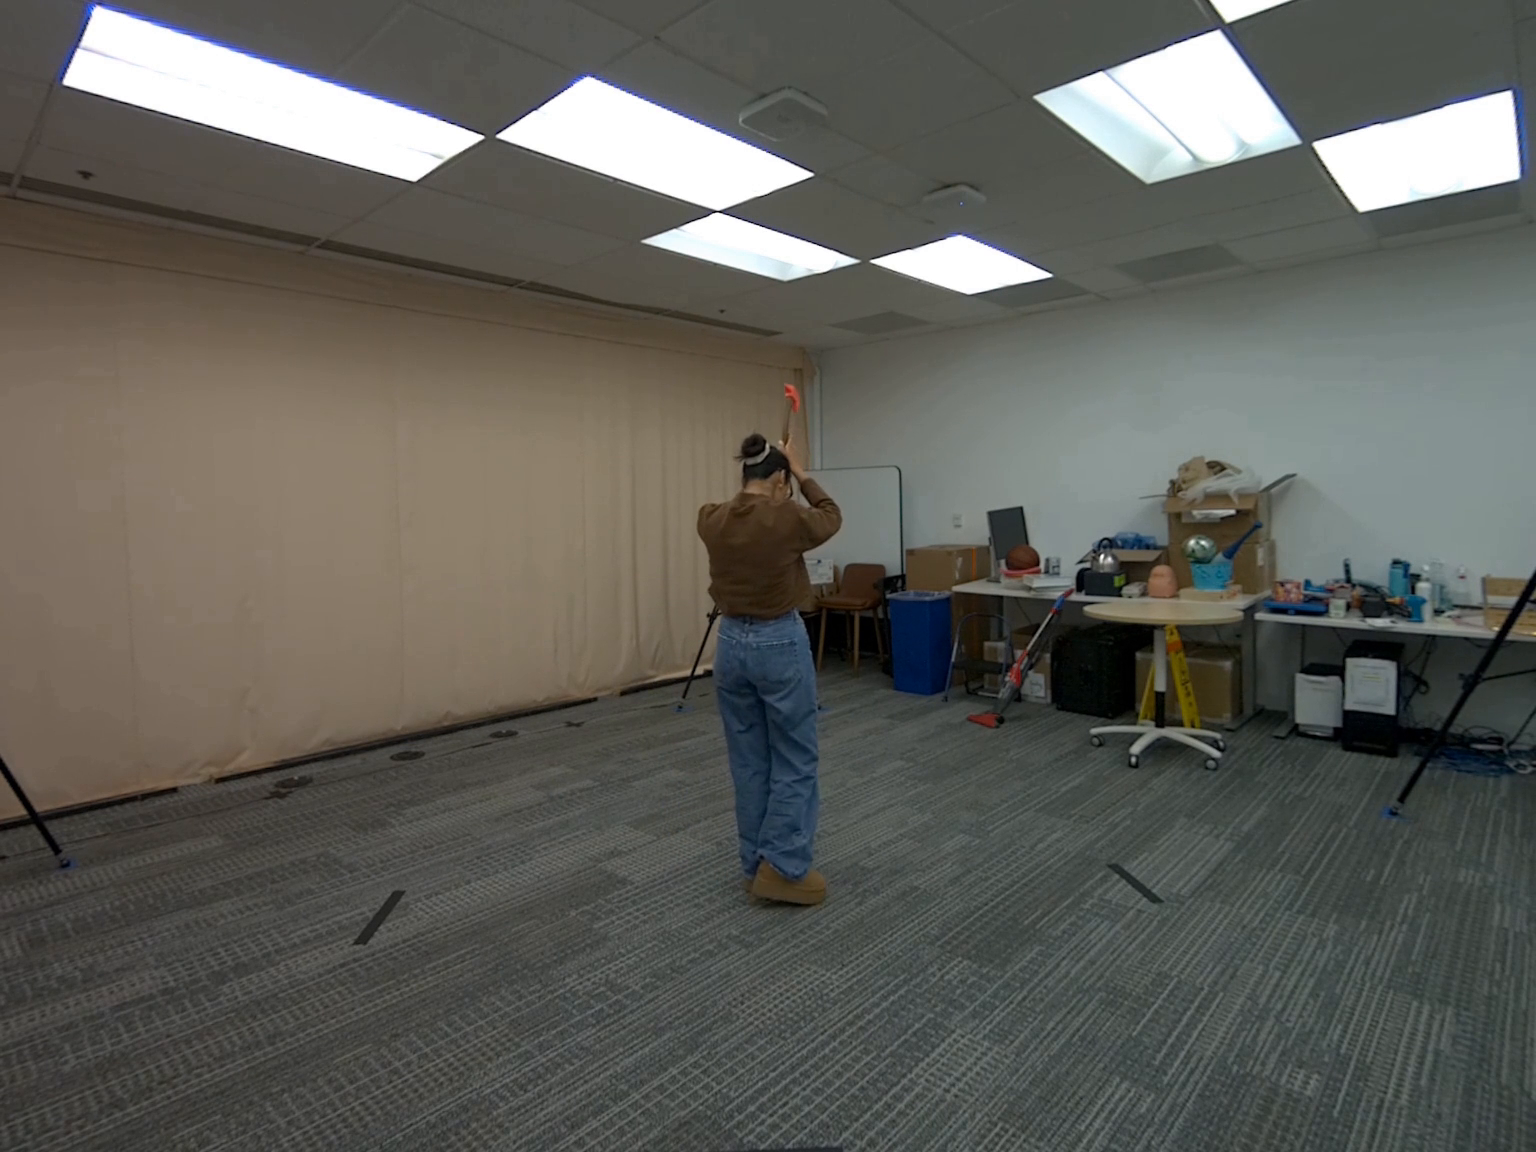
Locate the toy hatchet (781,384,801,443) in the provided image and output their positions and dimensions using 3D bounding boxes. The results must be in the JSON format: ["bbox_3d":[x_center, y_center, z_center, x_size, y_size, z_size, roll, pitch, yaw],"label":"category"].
[{"bbox_3d":[0.091,-0.595,3.221,0.030,0.270,0.127,2,-2,26],"label":"toy hatchet"}]
